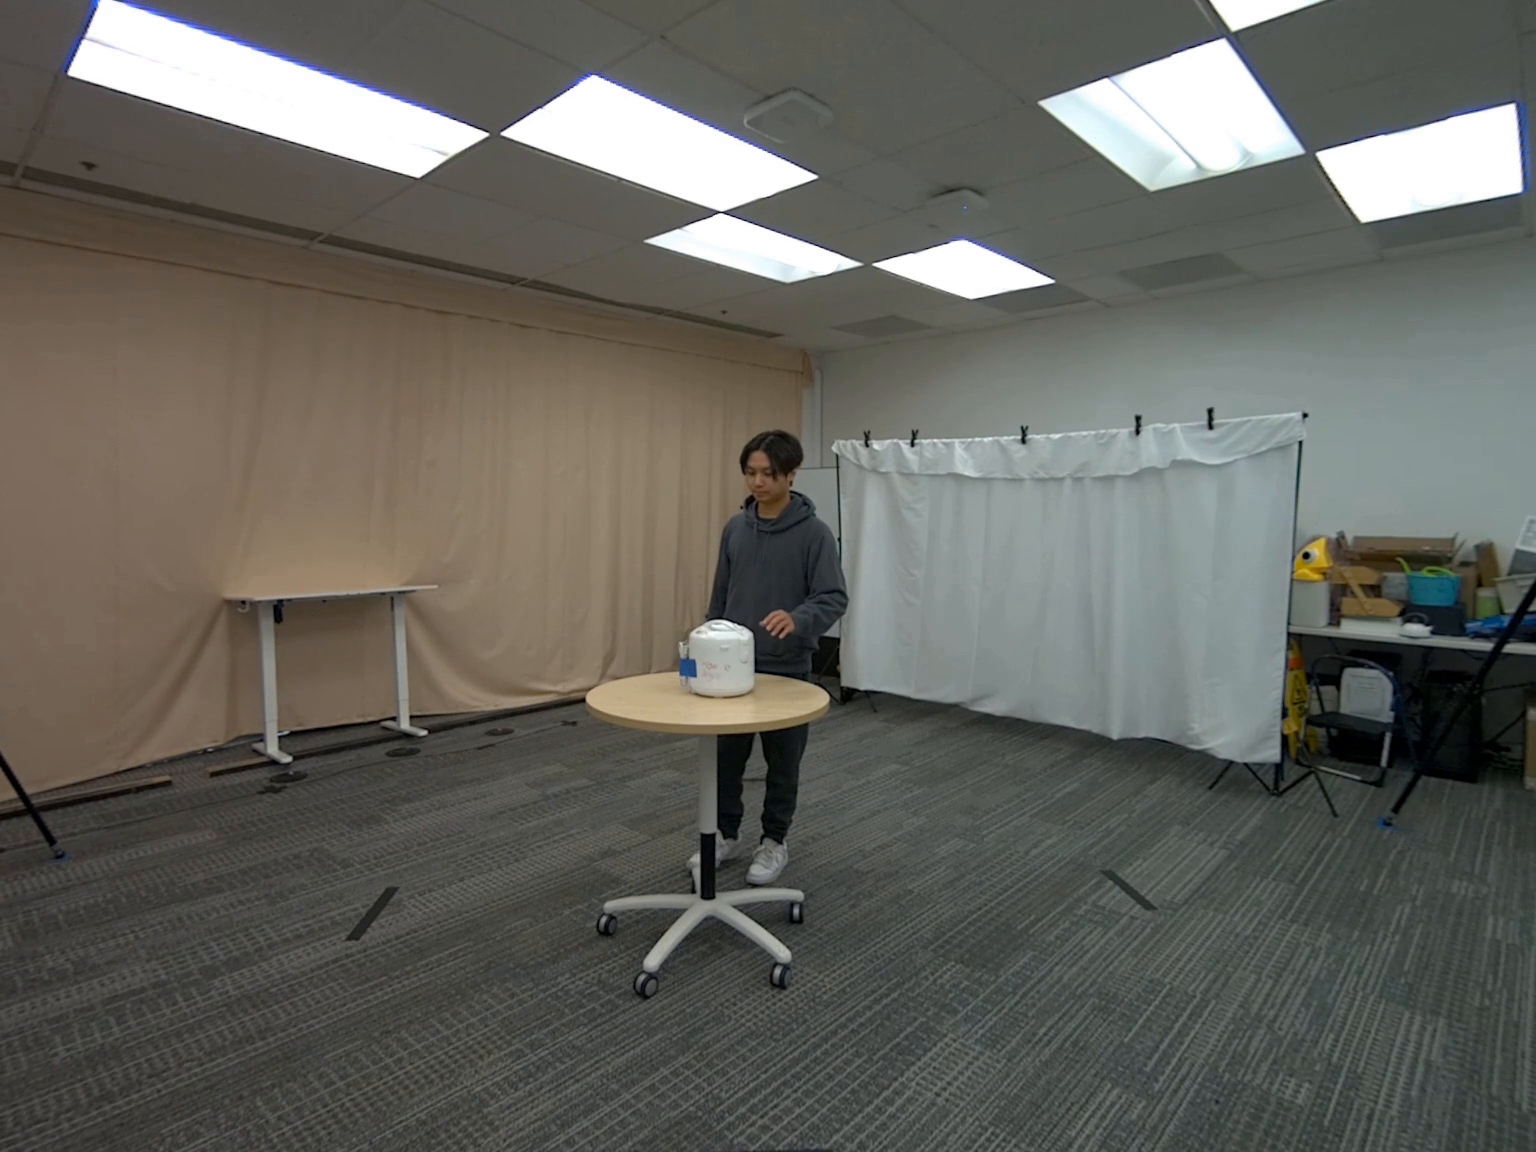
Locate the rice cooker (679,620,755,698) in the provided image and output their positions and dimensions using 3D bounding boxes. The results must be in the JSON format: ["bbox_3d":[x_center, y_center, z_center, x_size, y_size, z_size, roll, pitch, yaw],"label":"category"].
[{"bbox_3d":[-0.147,0.256,2.693,0.228,0.232,0.211,4,5,44],"label":"rice cooker"}]
